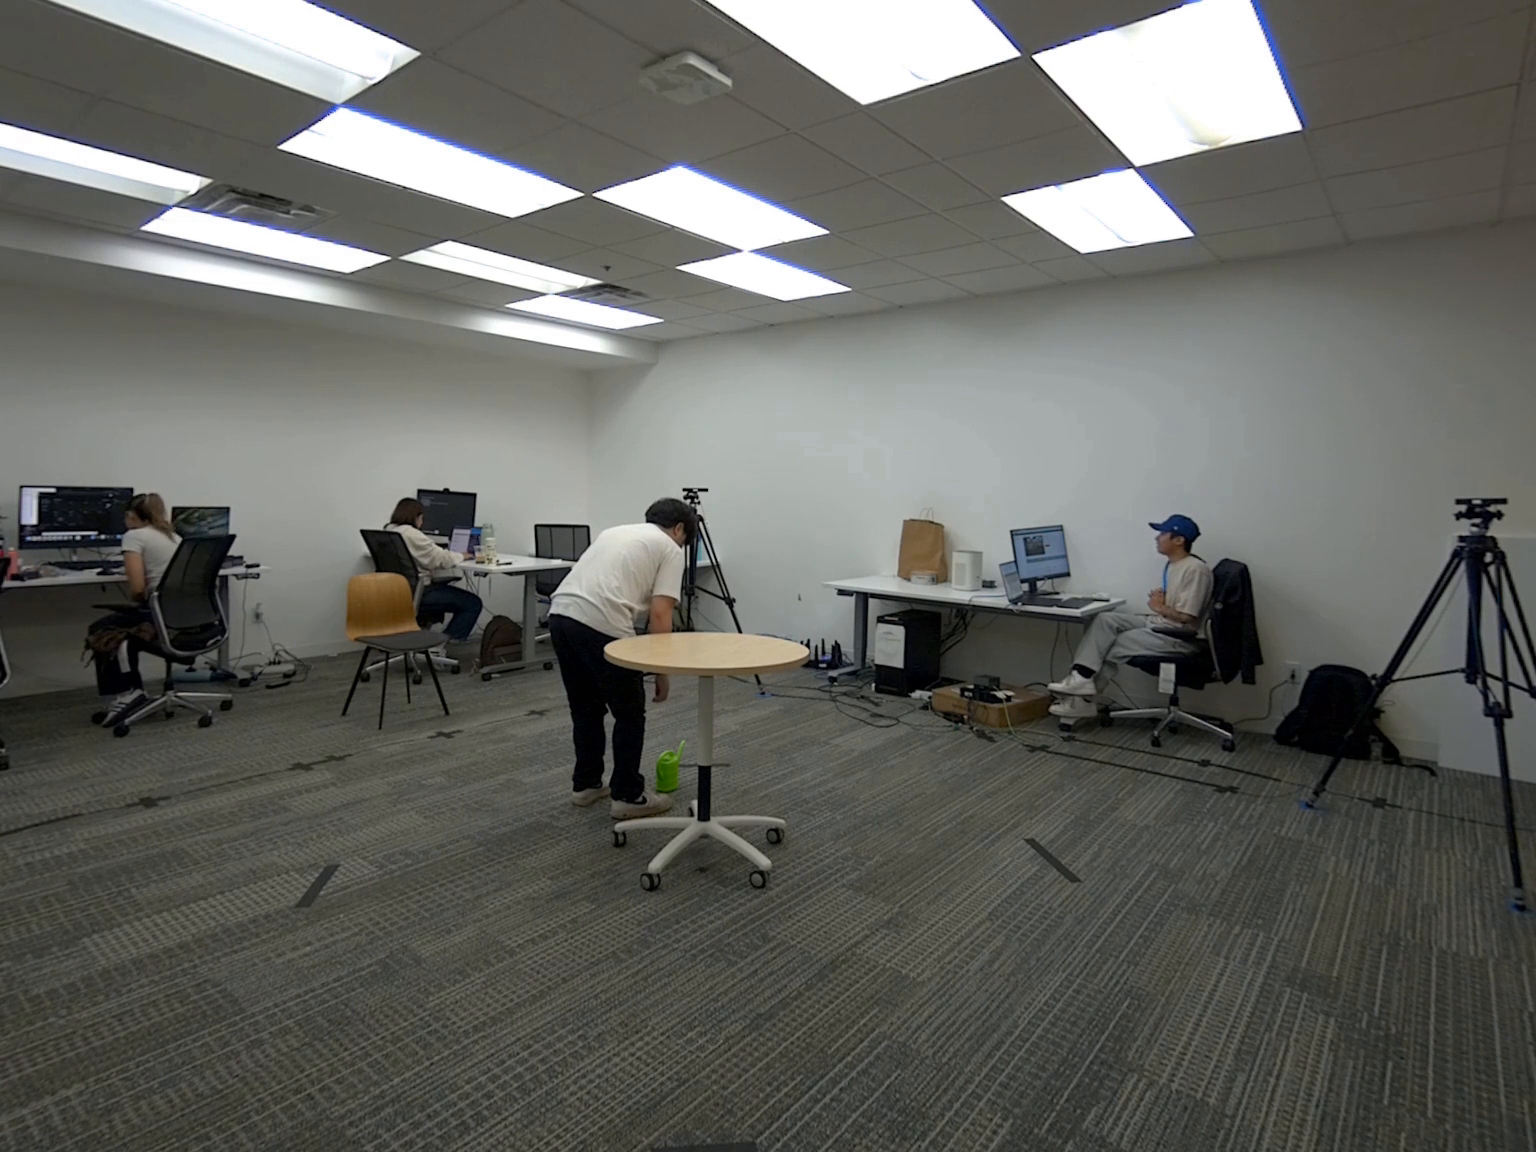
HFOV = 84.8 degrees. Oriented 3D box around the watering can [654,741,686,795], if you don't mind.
[{"bbox_3d":[-0.458,0.895,4.002,0.101,0.176,0.271,3,7,33],"label":"watering can"}]
